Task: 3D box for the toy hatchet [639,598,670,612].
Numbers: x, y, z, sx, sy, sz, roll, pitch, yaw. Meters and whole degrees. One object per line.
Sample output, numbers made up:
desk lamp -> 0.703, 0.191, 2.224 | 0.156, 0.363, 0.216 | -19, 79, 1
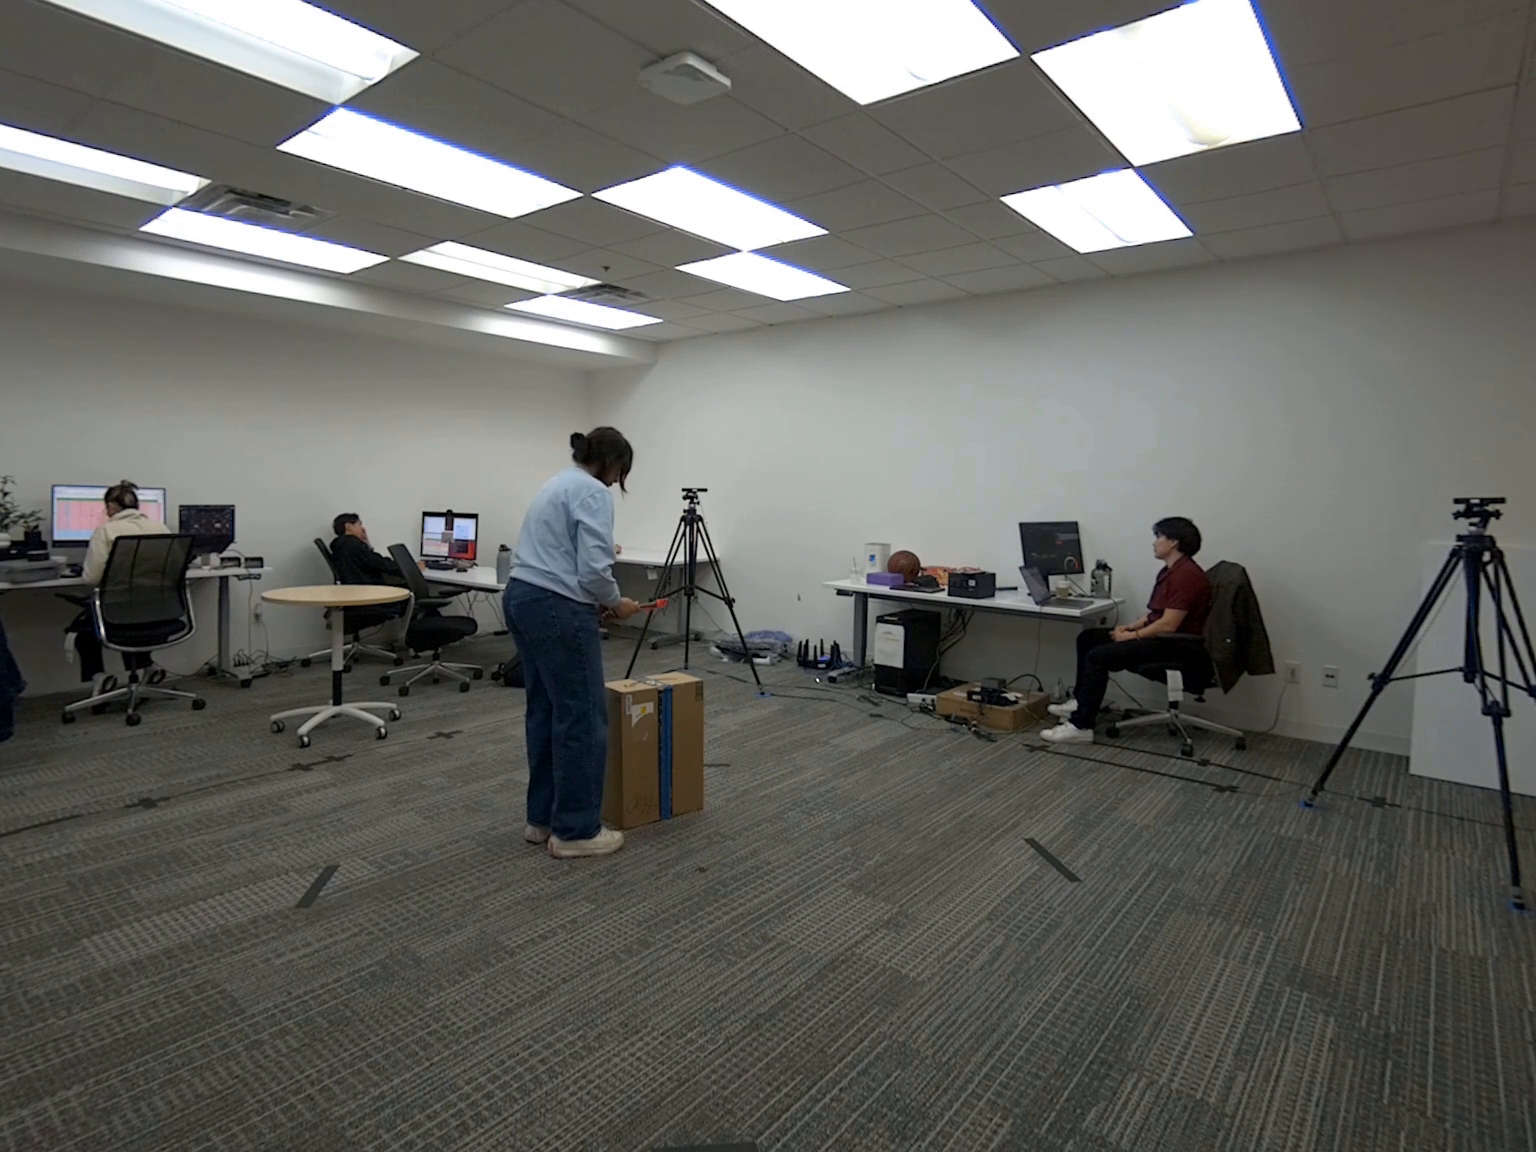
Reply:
toy hatchet -> -0.571, 0.131, 3.504 | 0.266, 0.030, 0.131 | -10, -9, -16
